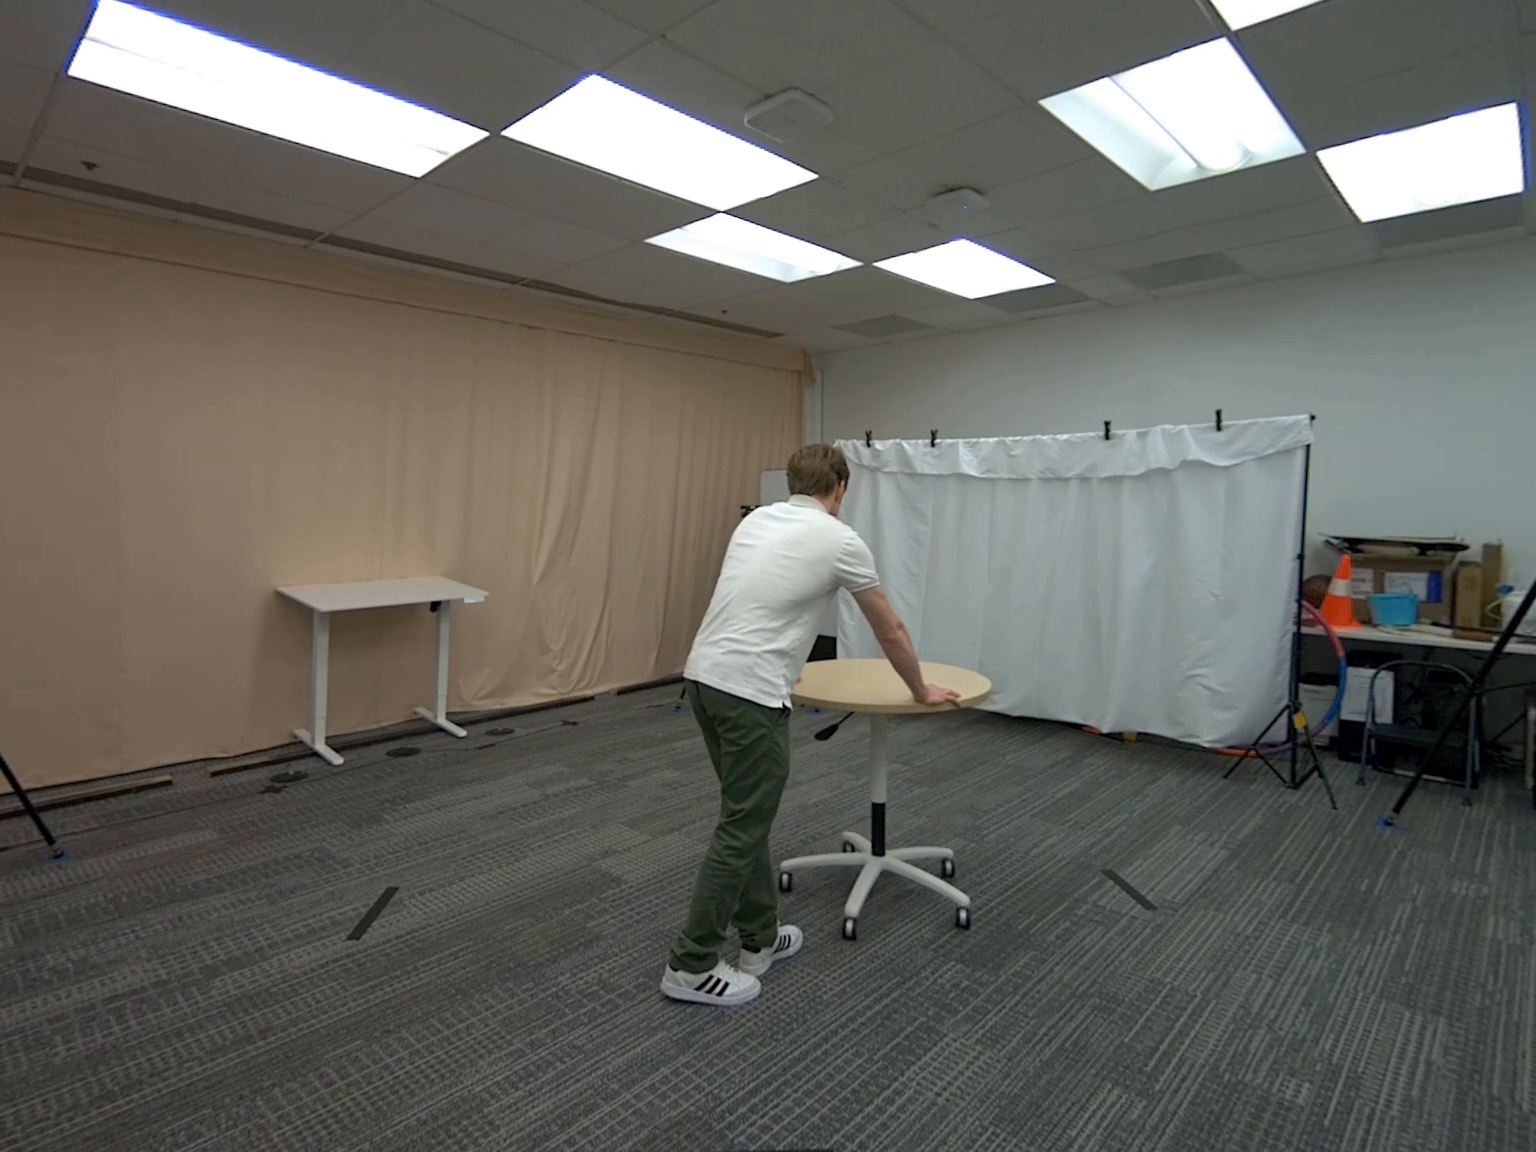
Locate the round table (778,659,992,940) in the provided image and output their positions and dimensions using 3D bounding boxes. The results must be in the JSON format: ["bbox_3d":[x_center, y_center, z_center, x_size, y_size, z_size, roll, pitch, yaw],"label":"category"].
[{"bbox_3d":[0.403,0.756,3.007,0.763,0.792,0.767,0,4,-2],"label":"round table"}]
